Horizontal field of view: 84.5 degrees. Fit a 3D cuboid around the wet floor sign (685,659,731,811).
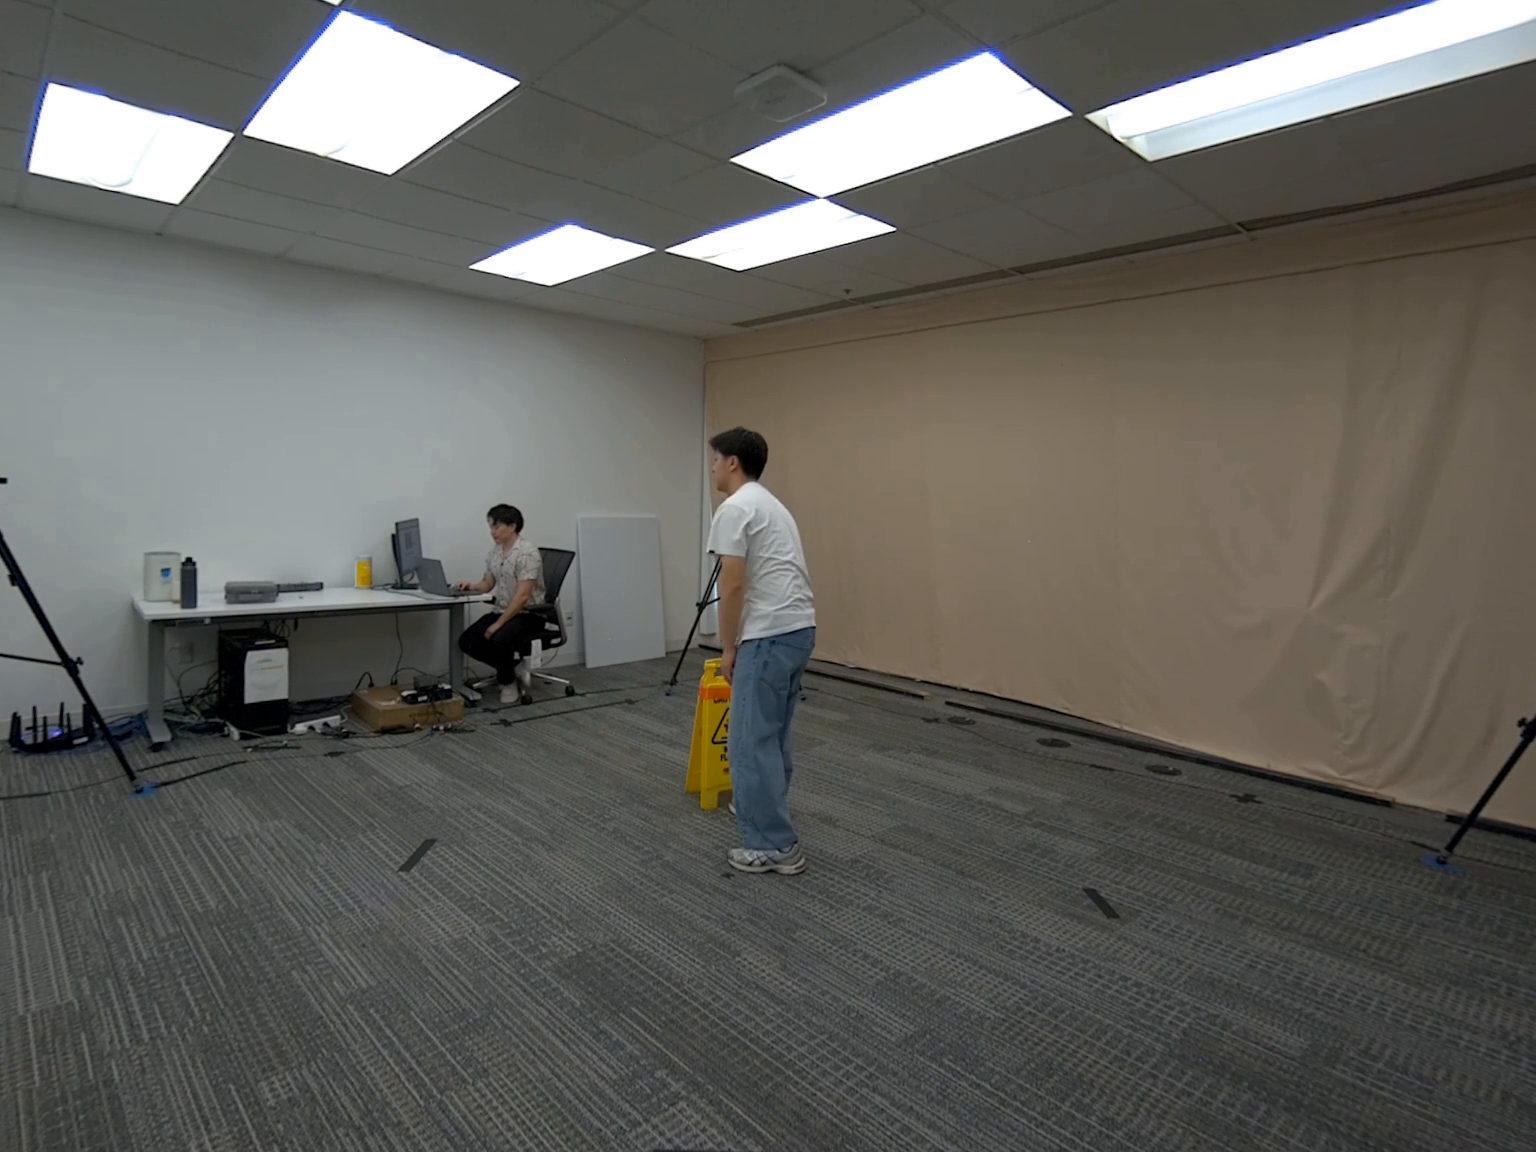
[{"bbox_3d":[-0.216,0.707,3.903,0.278,0.645,0.295,0,3,-22],"label":"wet floor sign"}]
